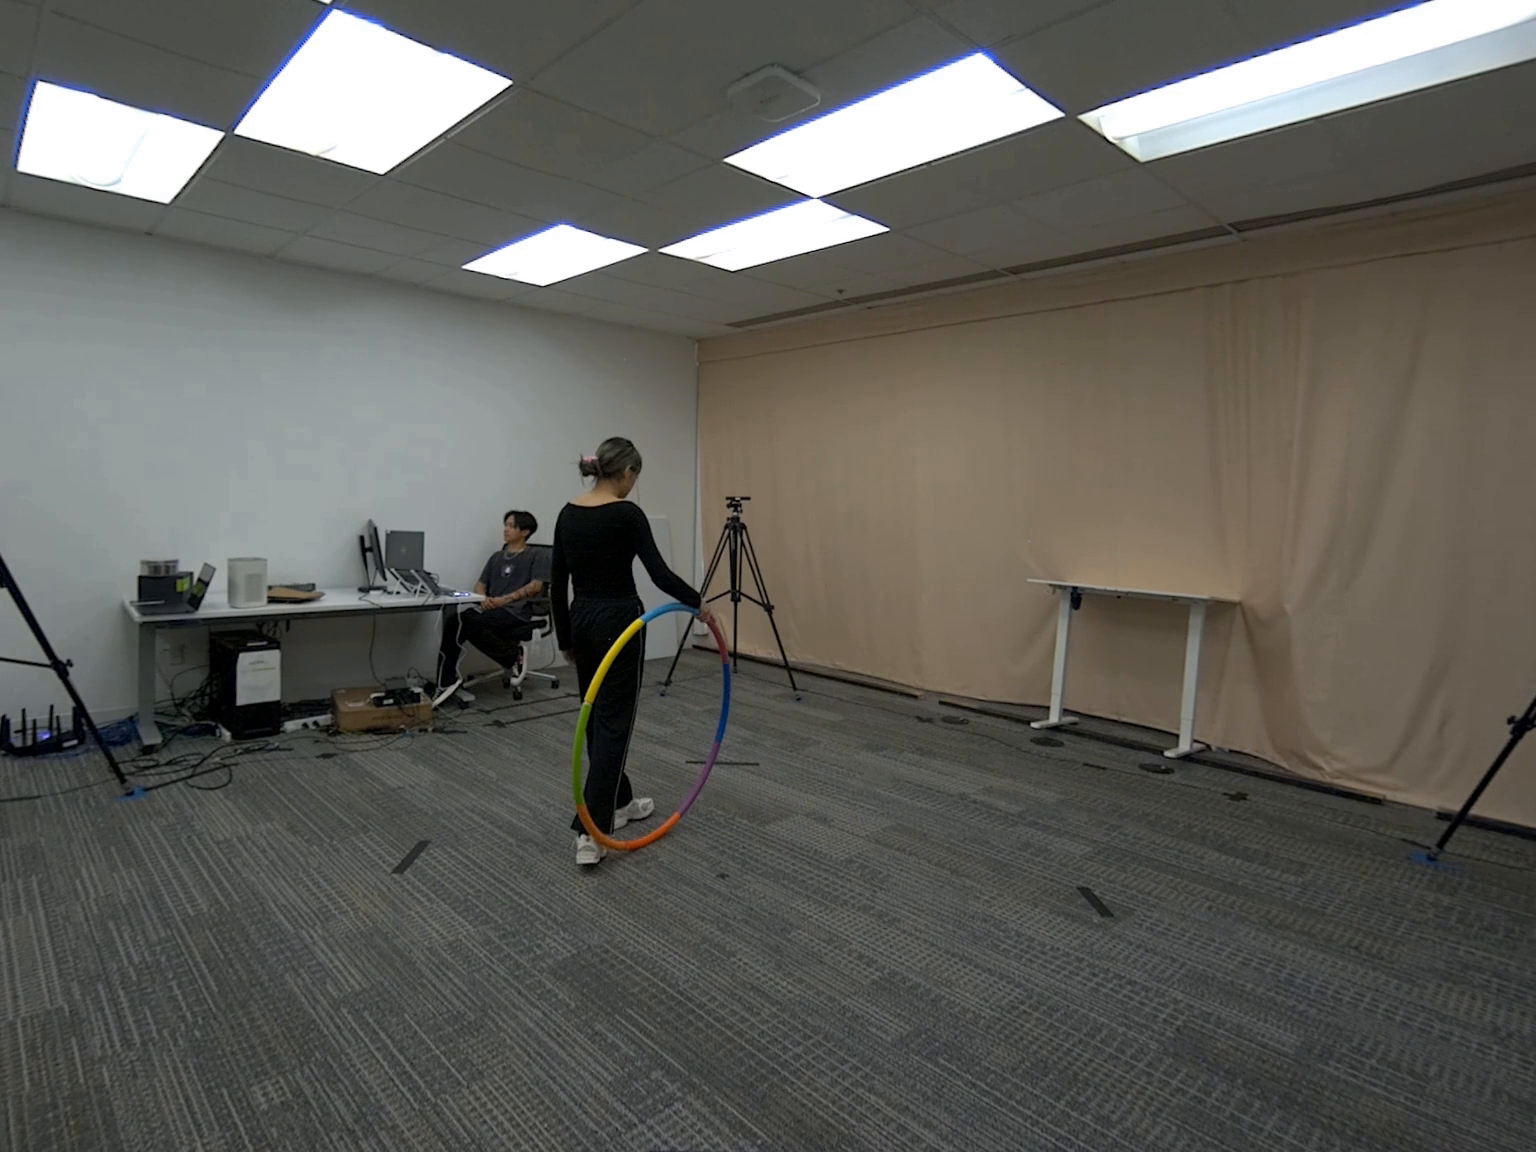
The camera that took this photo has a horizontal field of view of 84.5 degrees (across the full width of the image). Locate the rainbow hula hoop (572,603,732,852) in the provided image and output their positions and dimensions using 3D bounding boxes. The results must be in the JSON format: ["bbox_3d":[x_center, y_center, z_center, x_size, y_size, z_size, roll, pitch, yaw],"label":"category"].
[{"bbox_3d":[-0.431,0.590,3.332,0.036,0.974,0.959,10,8,30],"label":"rainbow hula hoop"}]
